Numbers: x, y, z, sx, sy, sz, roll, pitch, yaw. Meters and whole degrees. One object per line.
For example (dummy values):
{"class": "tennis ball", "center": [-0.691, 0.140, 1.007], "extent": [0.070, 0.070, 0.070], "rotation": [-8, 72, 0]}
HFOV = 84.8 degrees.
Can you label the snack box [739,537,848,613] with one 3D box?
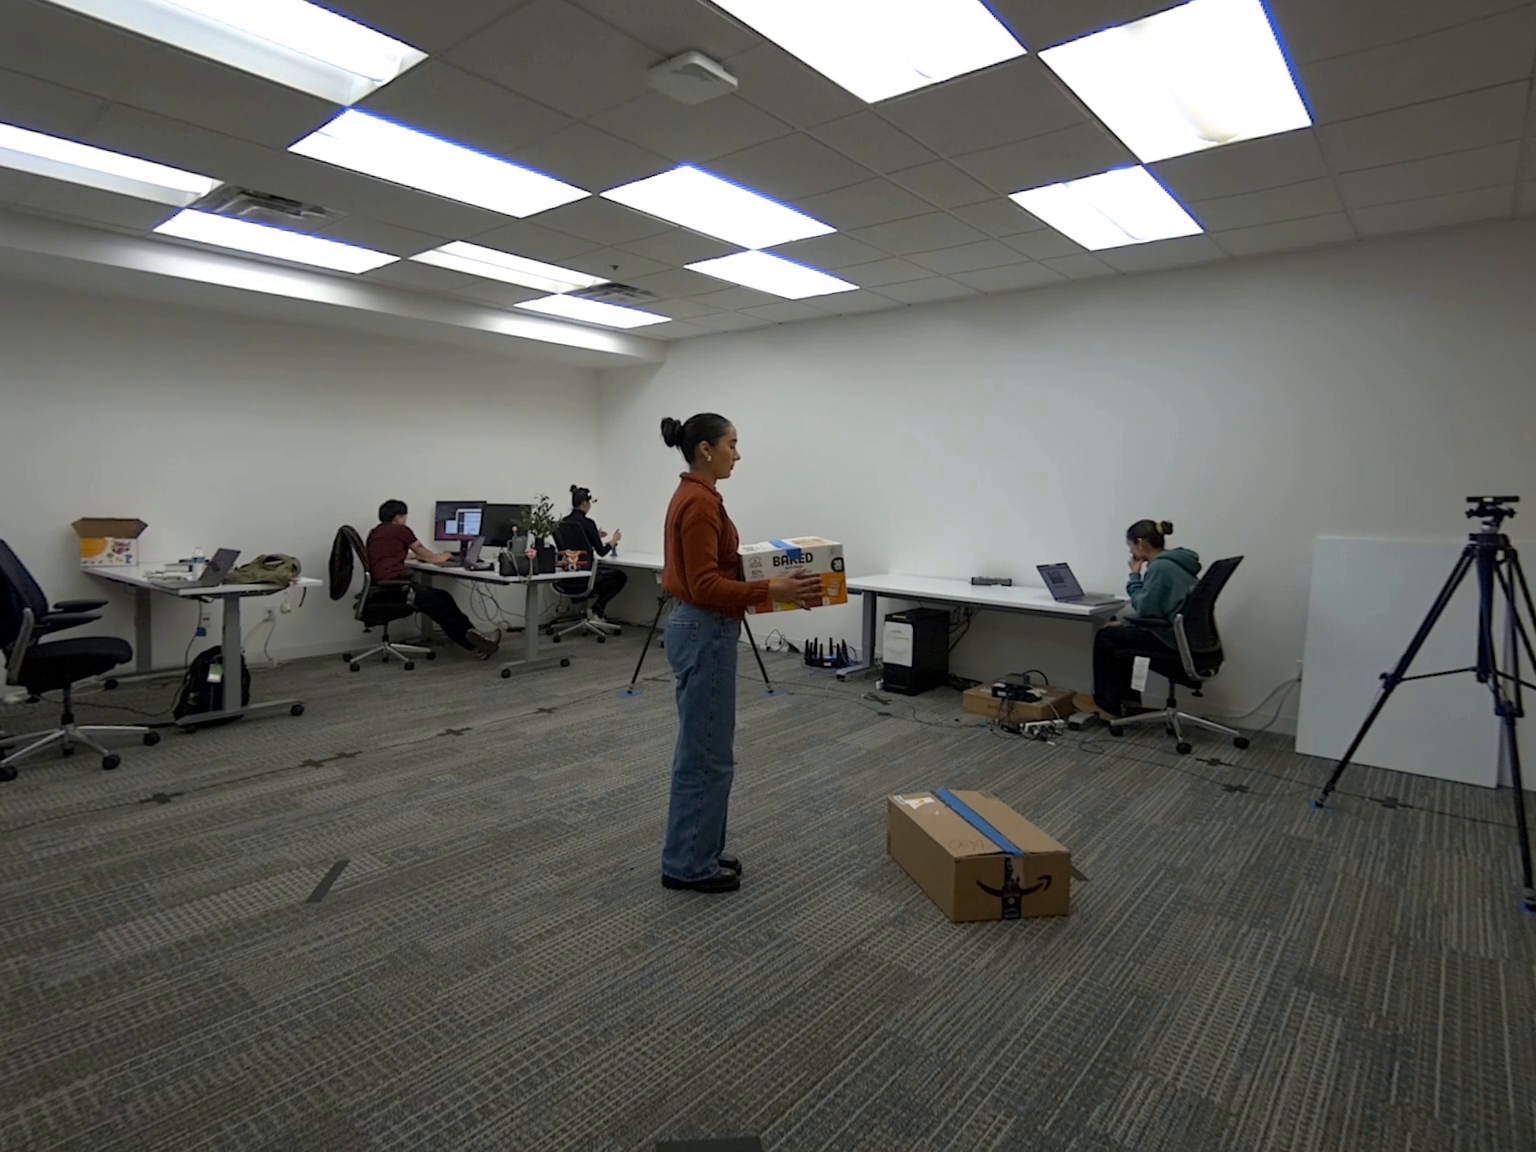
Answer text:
{"class": "snack box", "center": [0.048, -0.010, 3.003], "extent": [0.338, 0.204, 0.410], "rotation": [-7, 6, -7]}
